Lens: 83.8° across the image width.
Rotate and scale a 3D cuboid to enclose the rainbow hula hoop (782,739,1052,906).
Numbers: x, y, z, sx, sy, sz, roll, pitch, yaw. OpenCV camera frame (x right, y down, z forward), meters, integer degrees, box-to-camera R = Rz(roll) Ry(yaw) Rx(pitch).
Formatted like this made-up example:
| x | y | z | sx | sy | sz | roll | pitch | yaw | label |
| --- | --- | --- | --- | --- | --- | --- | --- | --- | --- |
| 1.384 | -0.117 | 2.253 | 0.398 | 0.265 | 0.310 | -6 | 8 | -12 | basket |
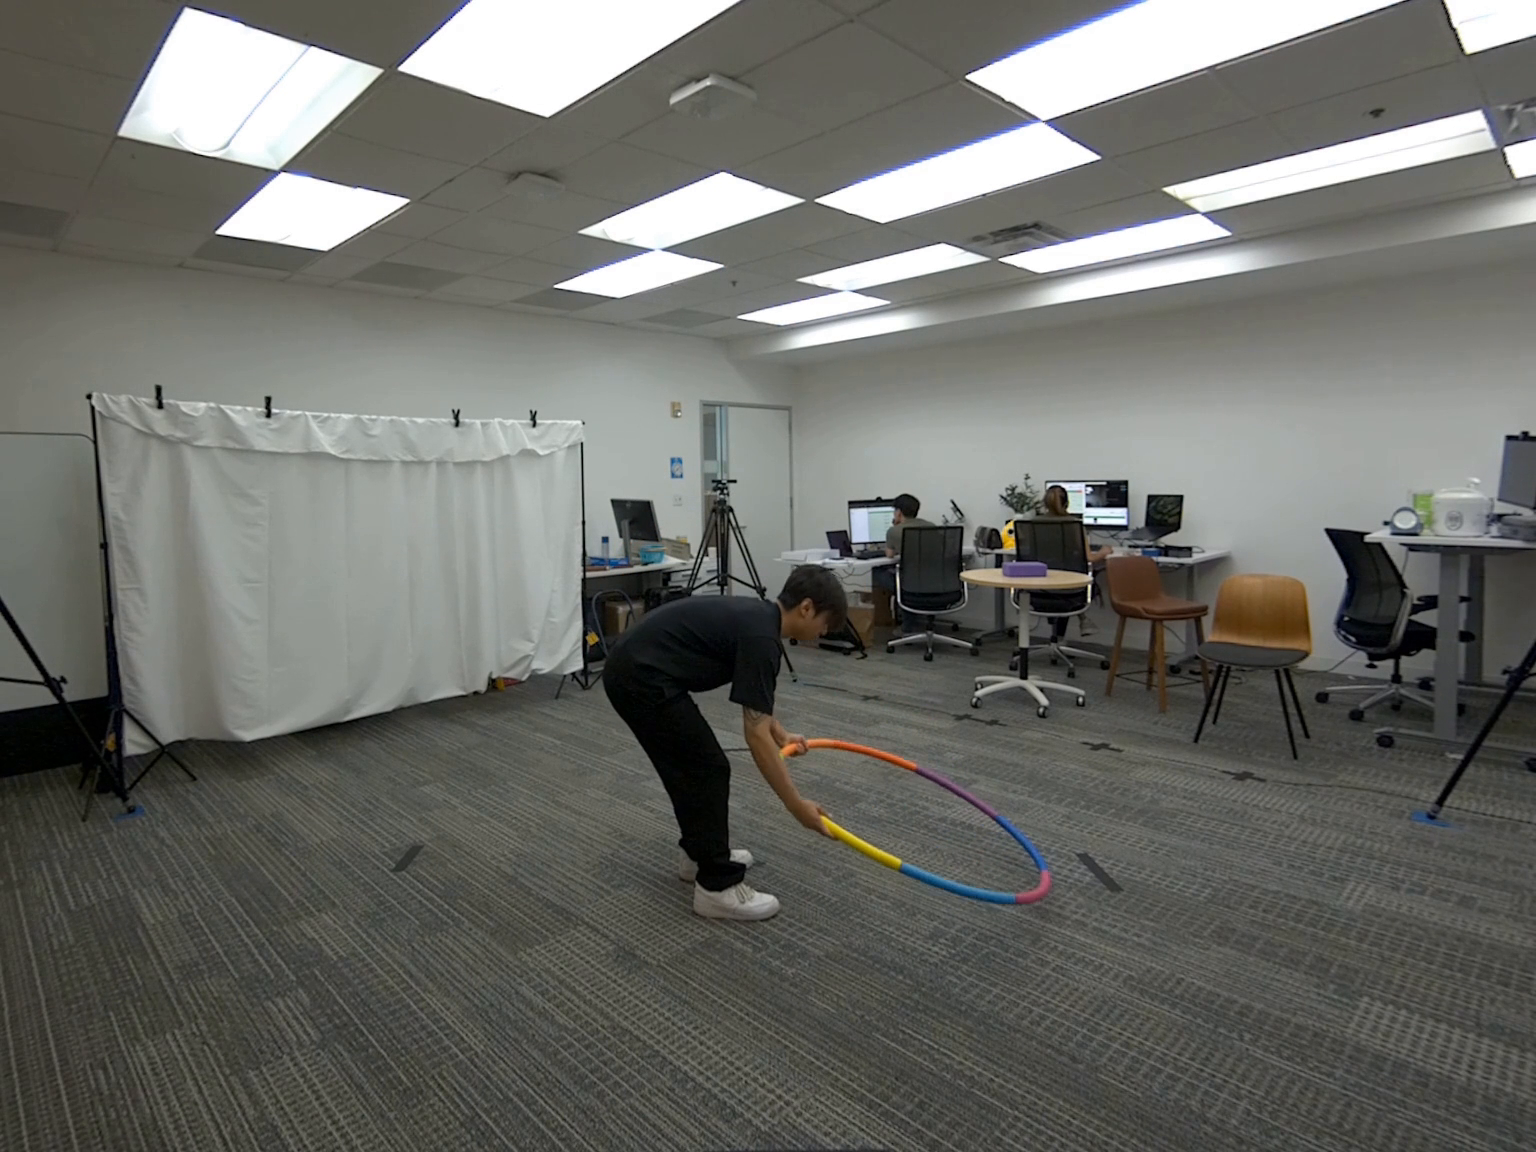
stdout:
| x | y | z | sx | sy | sz | roll | pitch | yaw | label |
| --- | --- | --- | --- | --- | --- | --- | --- | --- | --- |
| 0.489 | 0.806 | 2.950 | 0.975 | 0.035 | 0.987 | 19 | 8 | -4 | rainbow hula hoop |
